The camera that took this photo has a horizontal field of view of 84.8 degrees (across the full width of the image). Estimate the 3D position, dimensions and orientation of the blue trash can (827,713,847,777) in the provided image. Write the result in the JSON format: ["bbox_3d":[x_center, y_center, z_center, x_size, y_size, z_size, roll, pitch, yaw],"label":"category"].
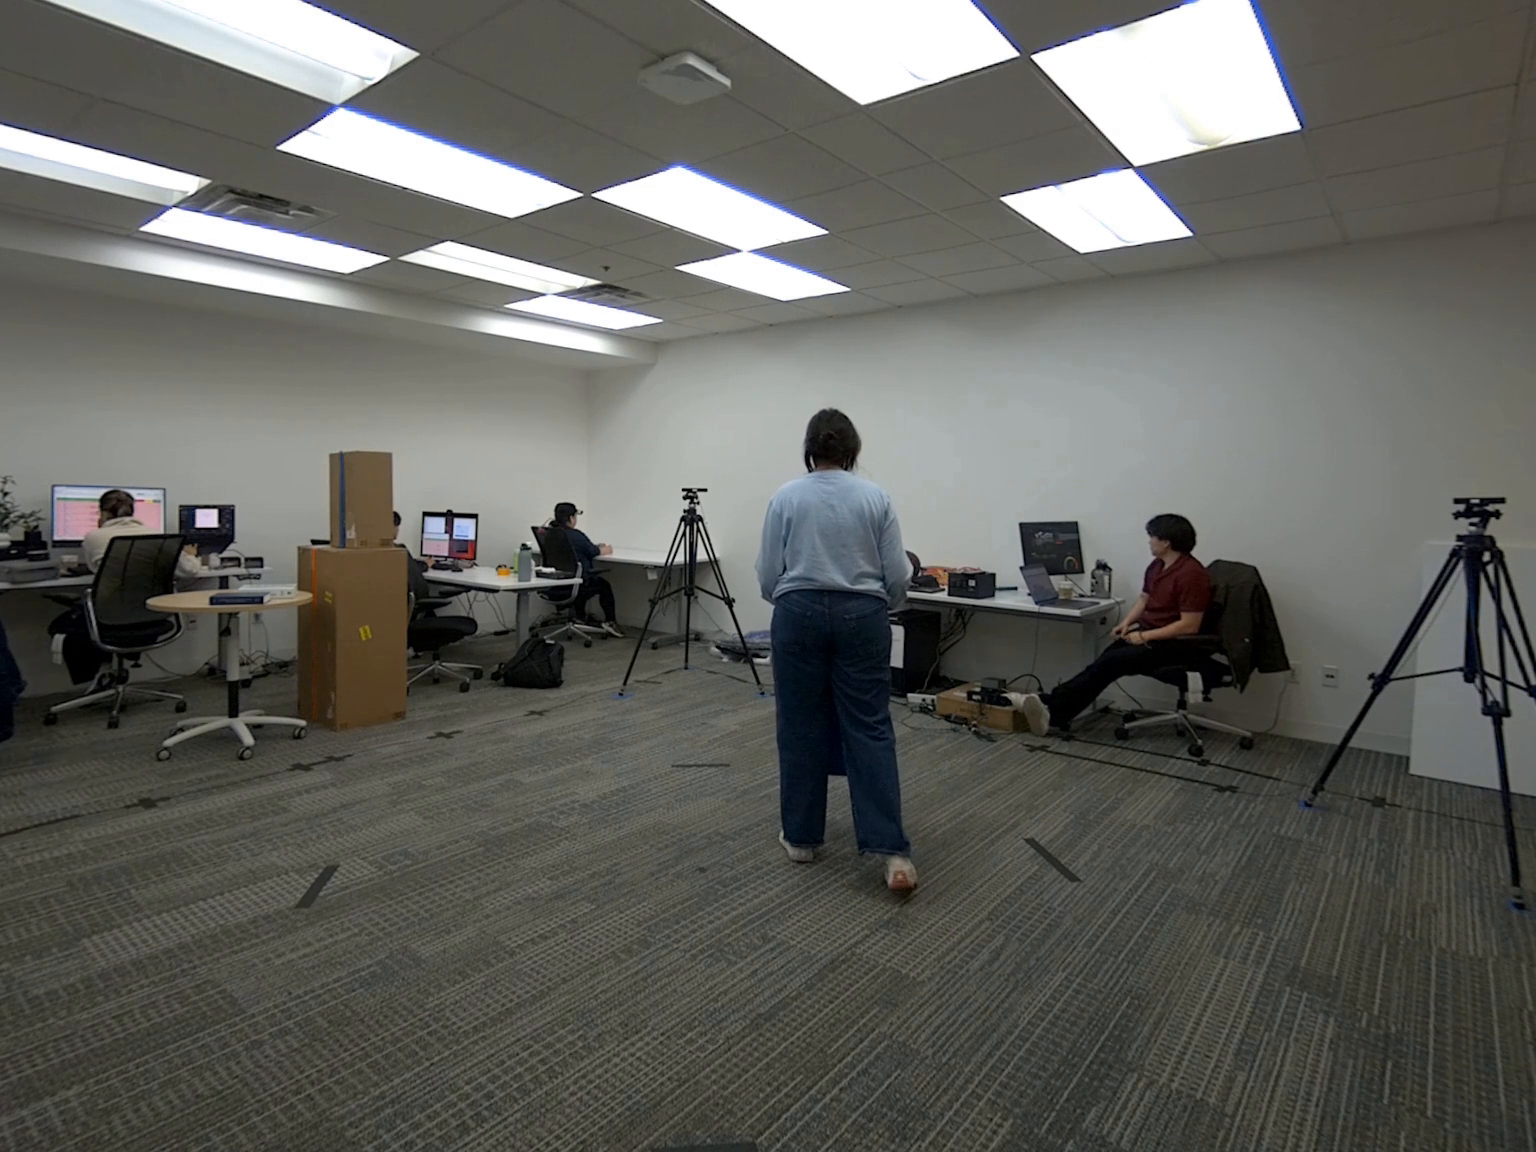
[{"bbox_3d":[0.266,0.420,3.506,0.378,0.713,0.374,1,1,0],"label":"blue trash can"}]
